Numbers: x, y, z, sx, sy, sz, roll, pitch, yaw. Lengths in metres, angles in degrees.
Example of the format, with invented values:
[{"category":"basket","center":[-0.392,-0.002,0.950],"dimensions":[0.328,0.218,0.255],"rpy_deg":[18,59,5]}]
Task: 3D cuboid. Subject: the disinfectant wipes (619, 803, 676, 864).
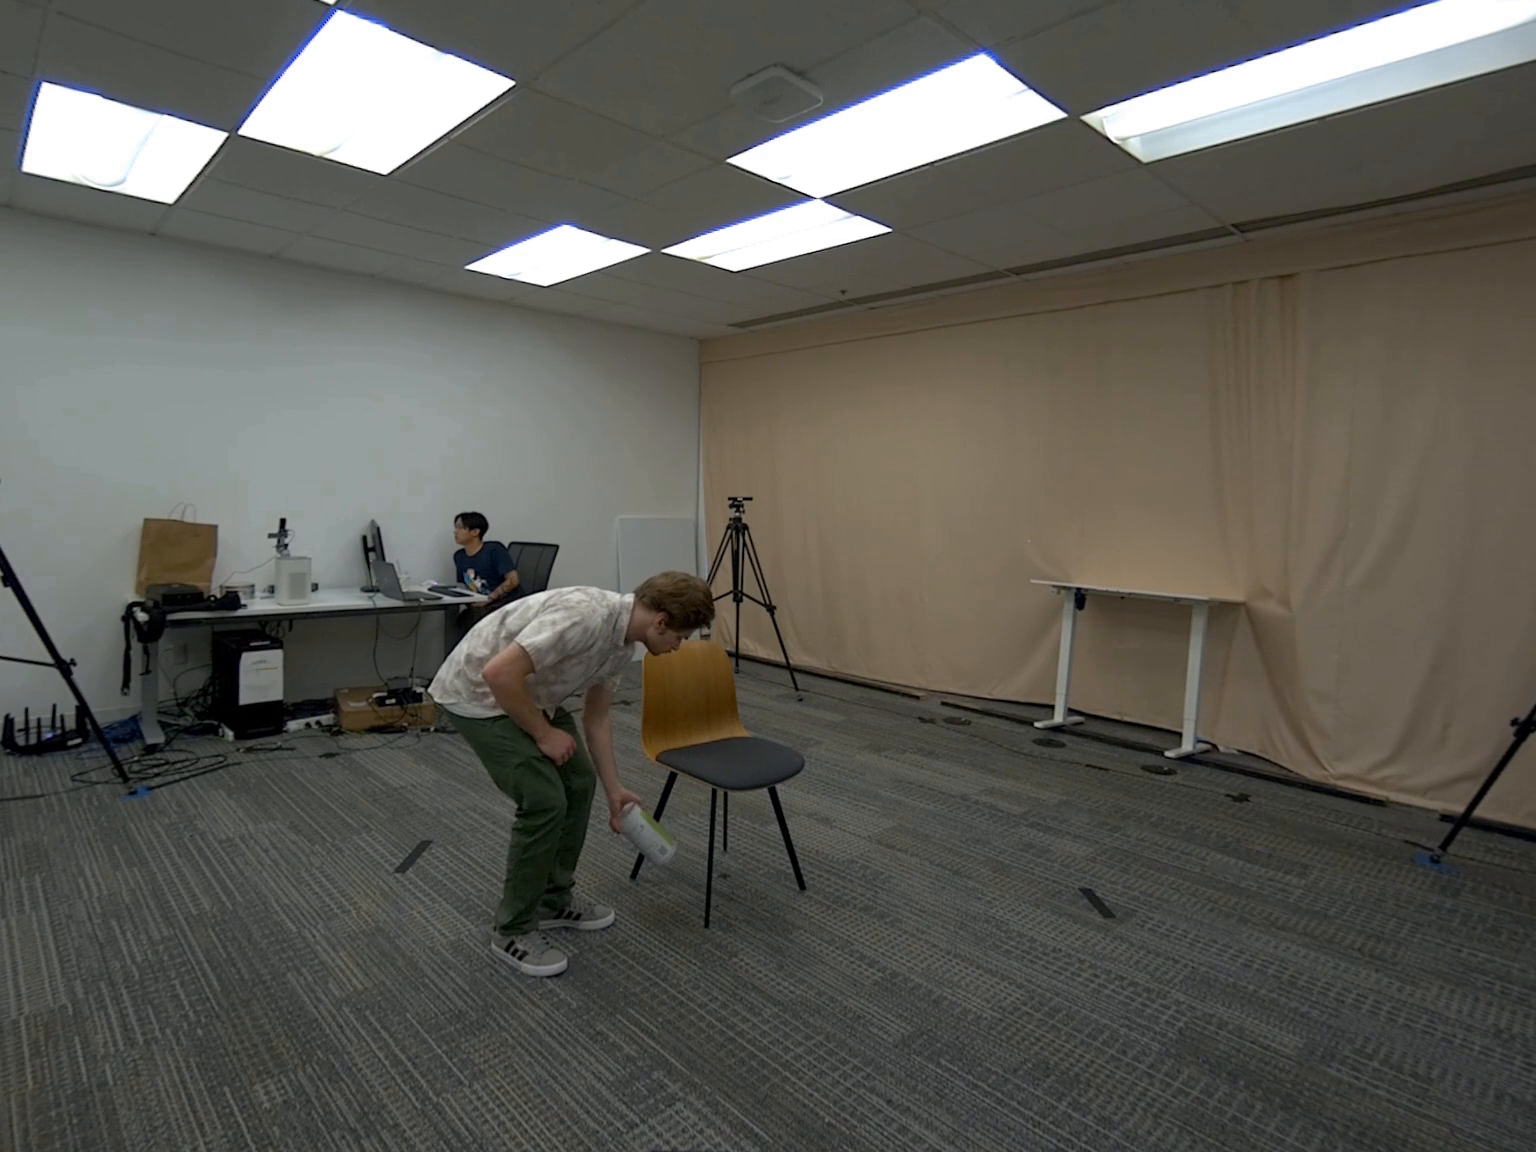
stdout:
[{"category":"disinfectant wipes","center":[-0.413,0.875,2.869],"dimensions":[0.118,0.214,0.119],"rpy_deg":[-37,13,9]}]
